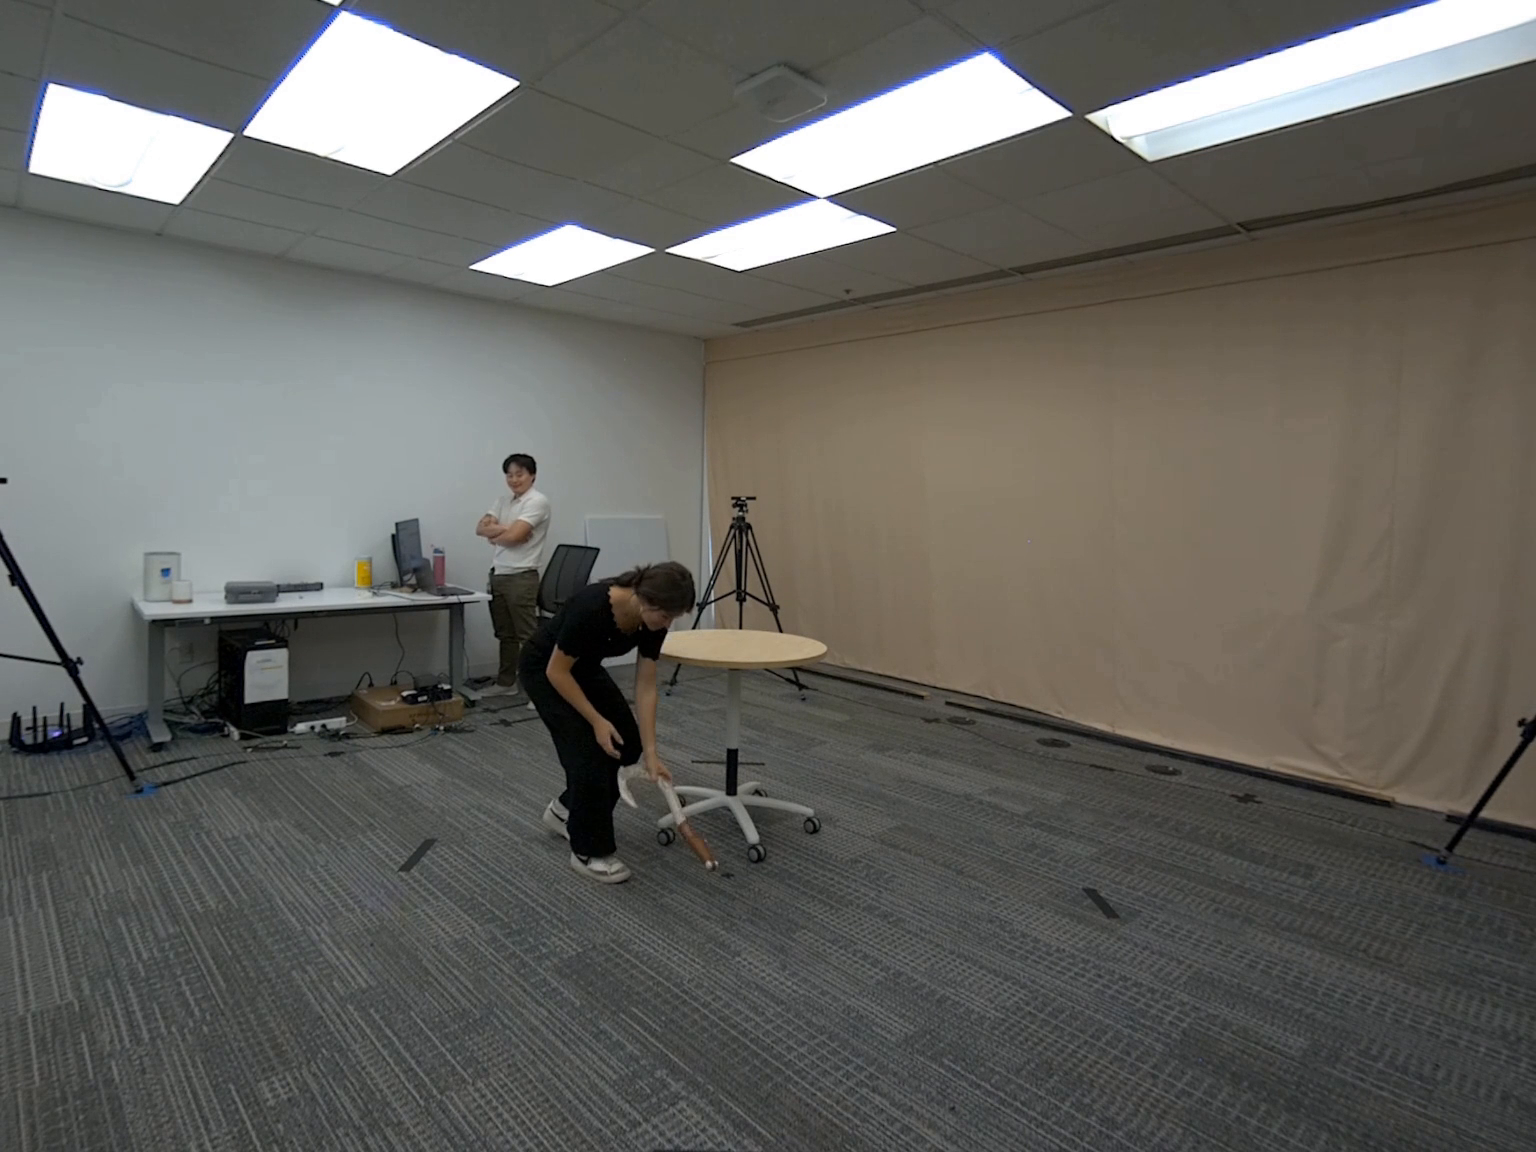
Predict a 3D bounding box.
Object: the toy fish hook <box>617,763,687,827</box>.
[{"bbox_3d":[-0.352,0.839,2.904,0.219,0.048,0.523,2,29,-40],"label":"toy fish hook"}]
